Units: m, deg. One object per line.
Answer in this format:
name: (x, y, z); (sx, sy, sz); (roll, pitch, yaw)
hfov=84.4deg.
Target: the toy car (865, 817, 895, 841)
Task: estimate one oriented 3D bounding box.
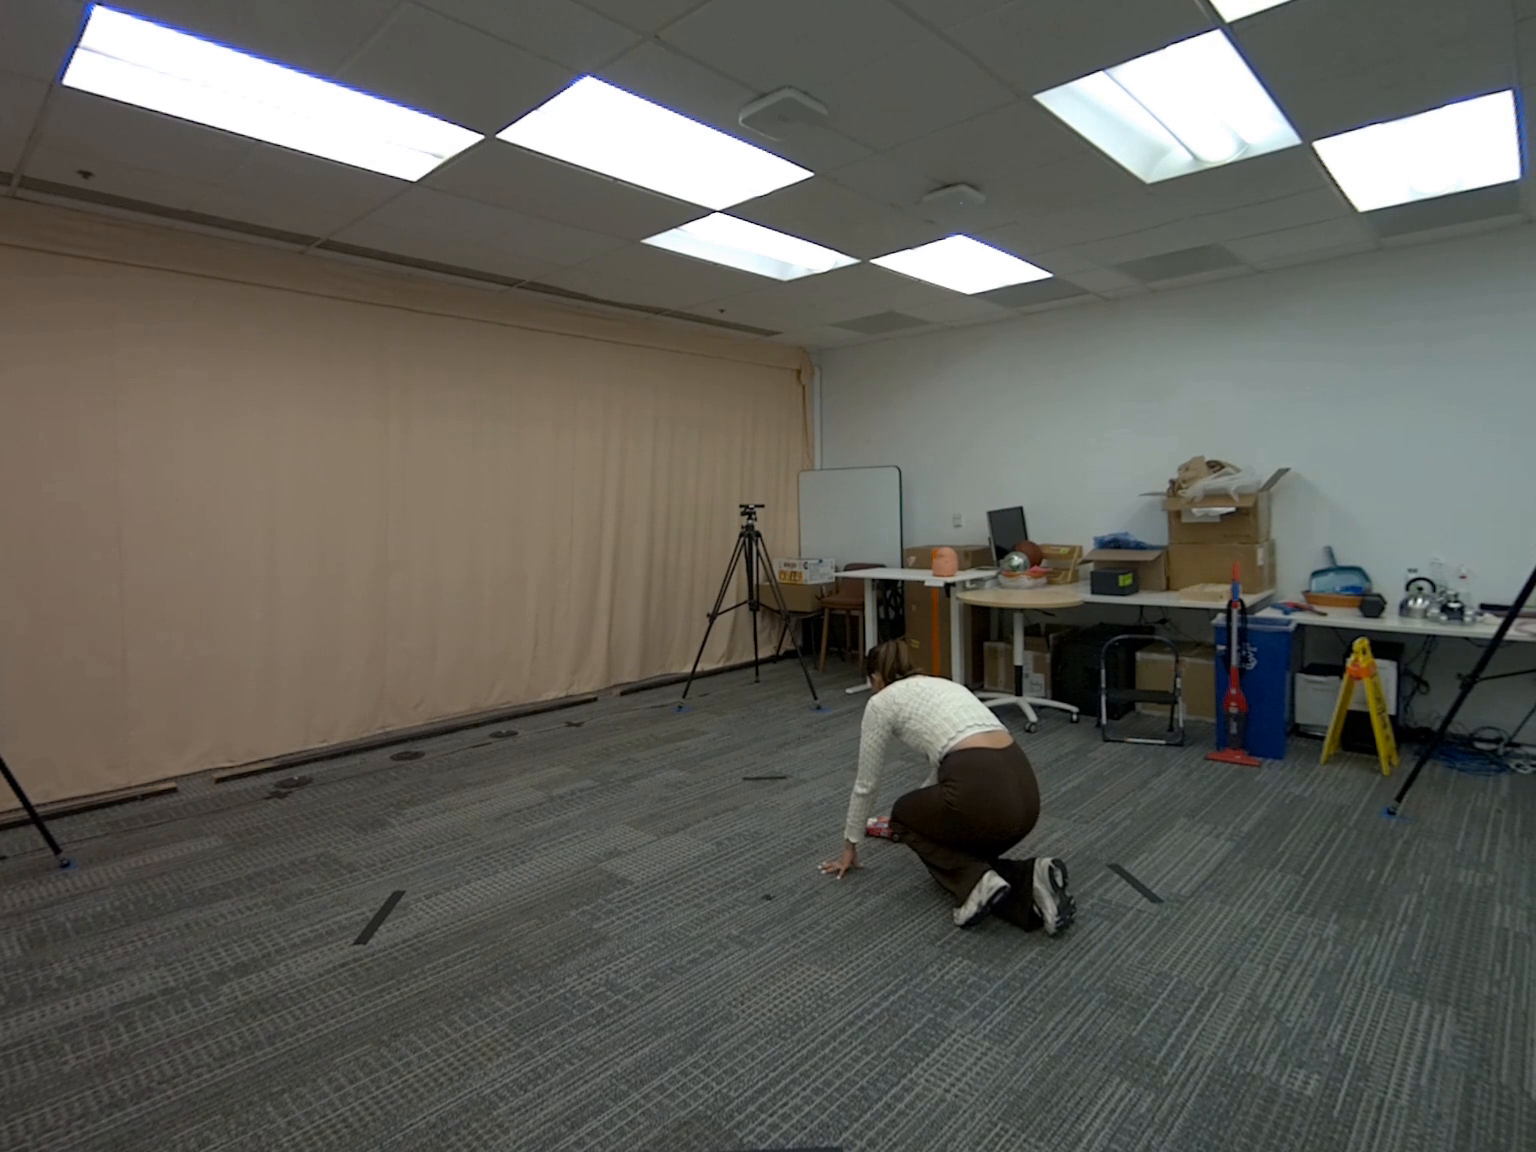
toy car: (0.511, 1.054, 3.512); (0.260, 0.083, 0.127); (-10, -1, 28)
